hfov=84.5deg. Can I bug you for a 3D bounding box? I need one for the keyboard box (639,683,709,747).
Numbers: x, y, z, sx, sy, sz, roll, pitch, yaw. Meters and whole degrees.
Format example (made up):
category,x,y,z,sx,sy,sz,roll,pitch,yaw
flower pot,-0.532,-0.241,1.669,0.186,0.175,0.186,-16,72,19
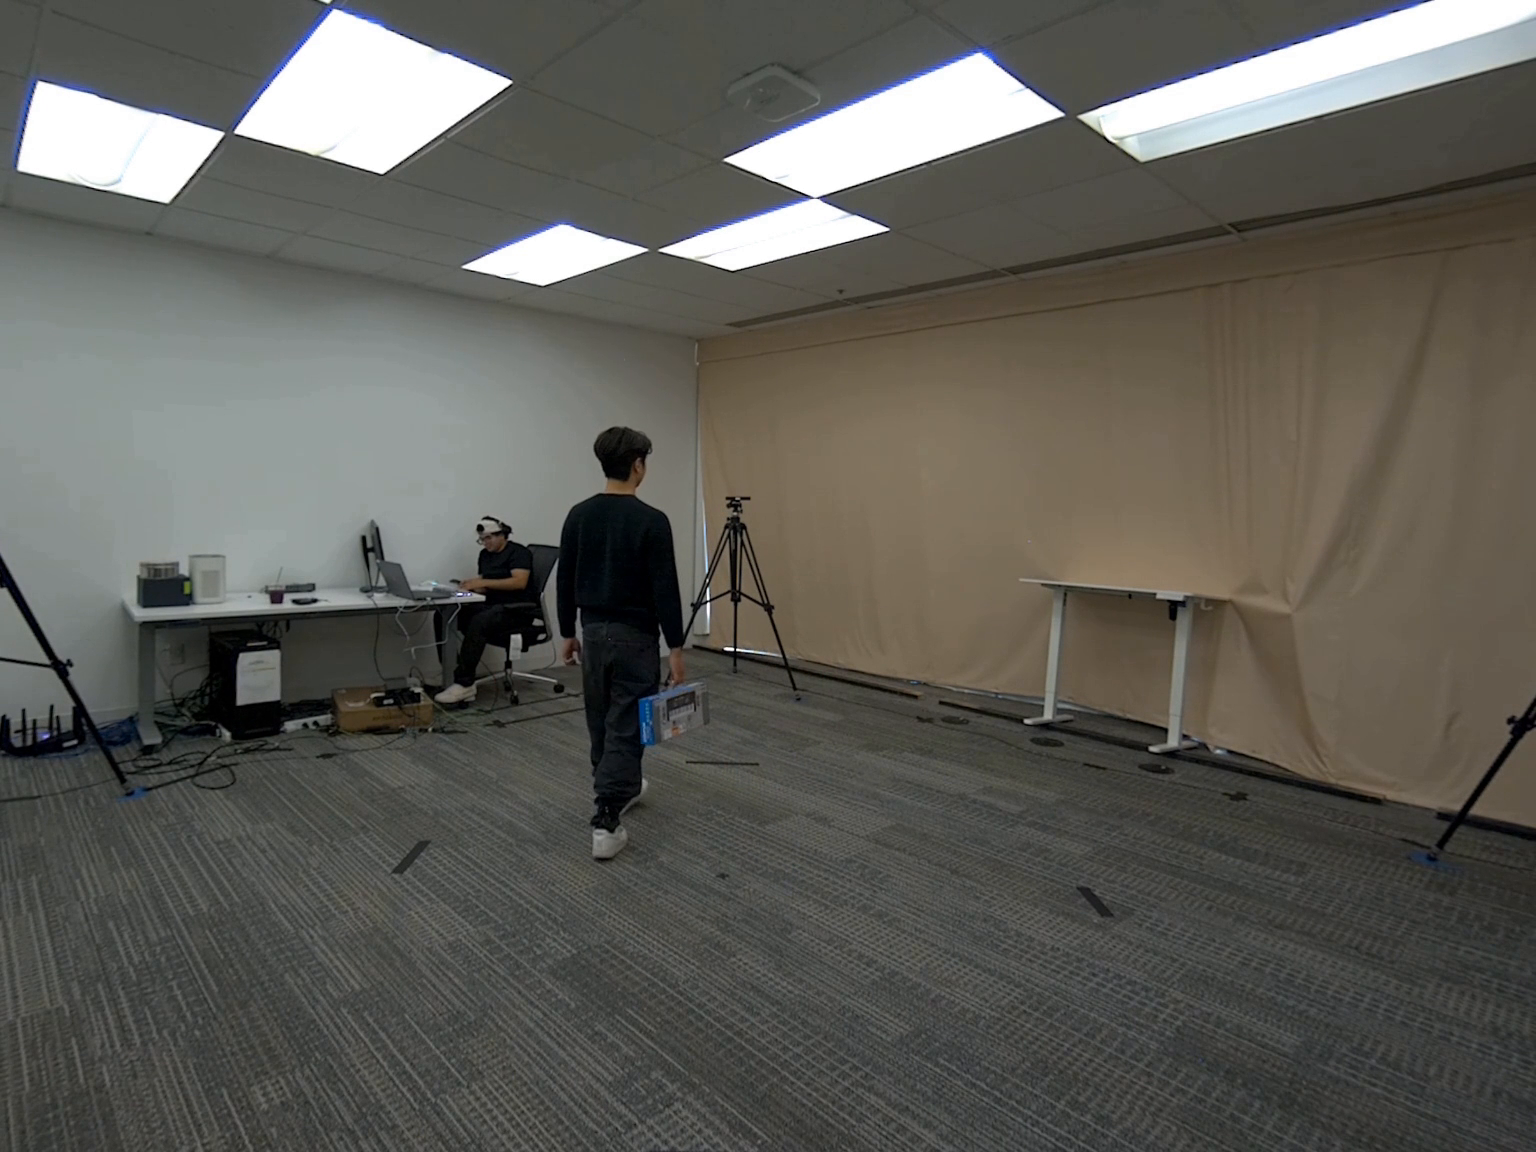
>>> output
category,x,y,z,sx,sy,sz,roll,pitch,yaw
keyboard box,-0.376,0.543,3.366,0.060,0.176,0.429,-2,1,25
